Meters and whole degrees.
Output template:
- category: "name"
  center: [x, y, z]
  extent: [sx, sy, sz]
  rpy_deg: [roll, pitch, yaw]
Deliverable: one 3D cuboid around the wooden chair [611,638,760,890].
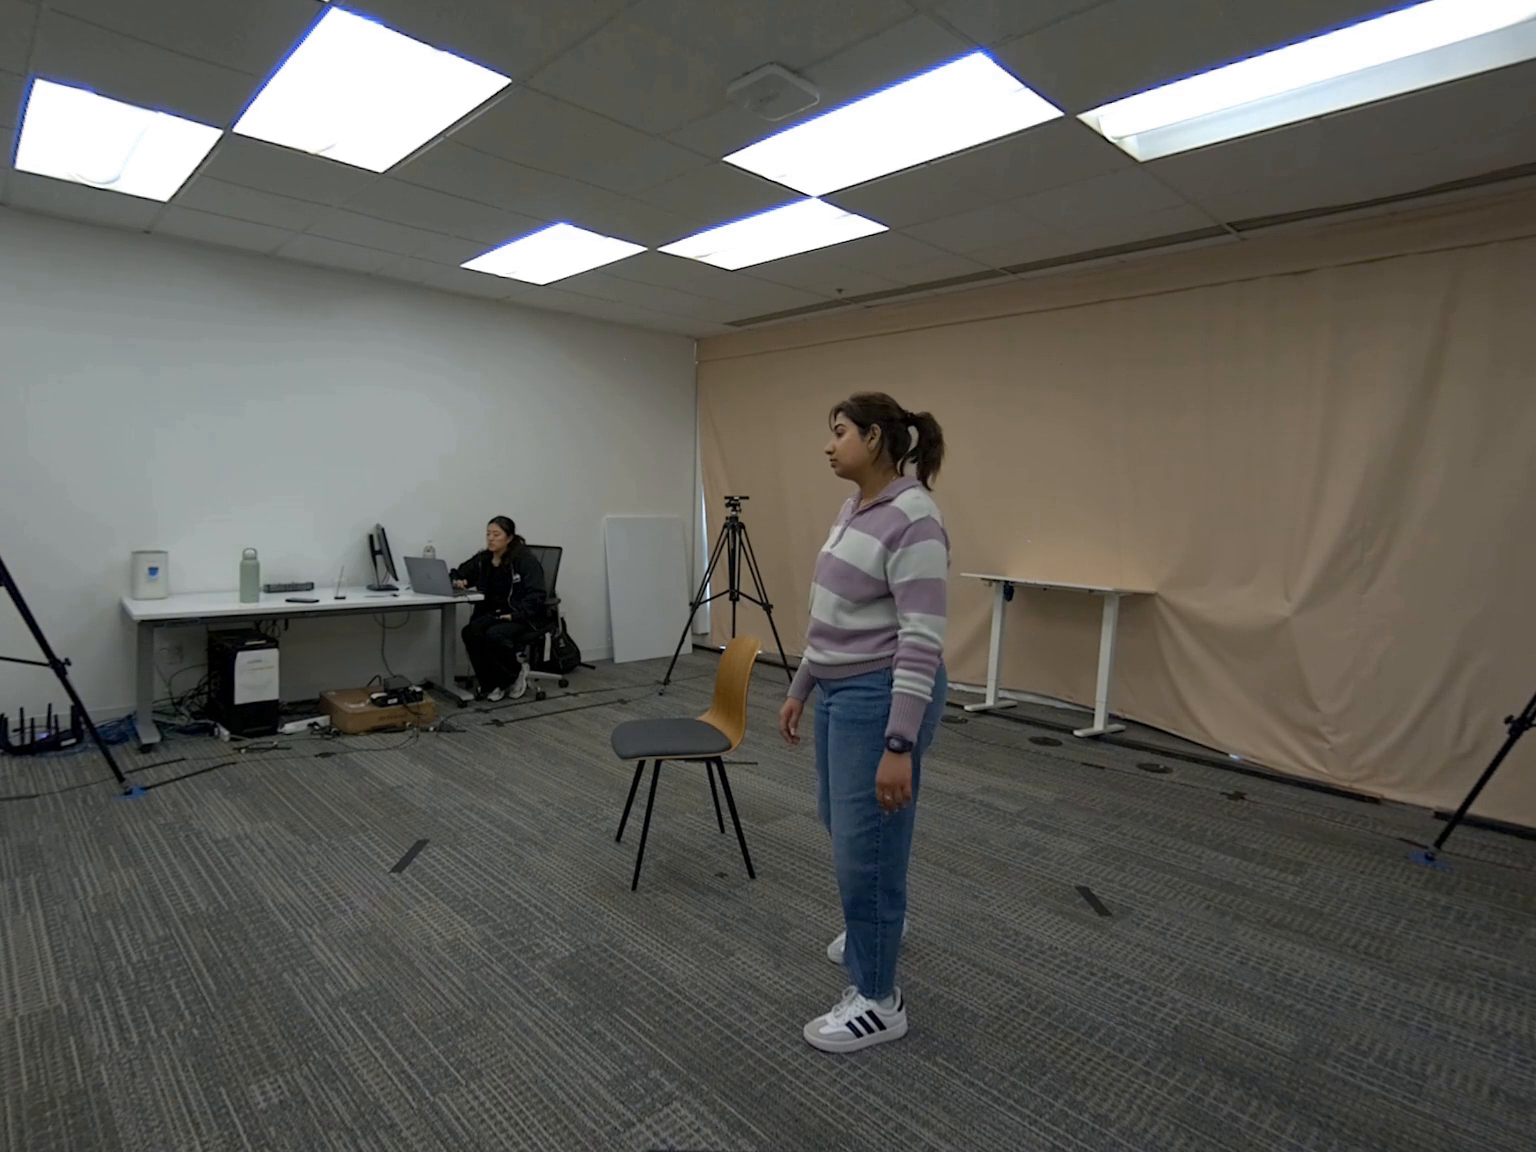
- category: "wooden chair"
  center: [-0.332, 0.664, 3.196]
  extent: [0.516, 0.876, 0.485]
  rpy_deg: [4, 3, -17]
